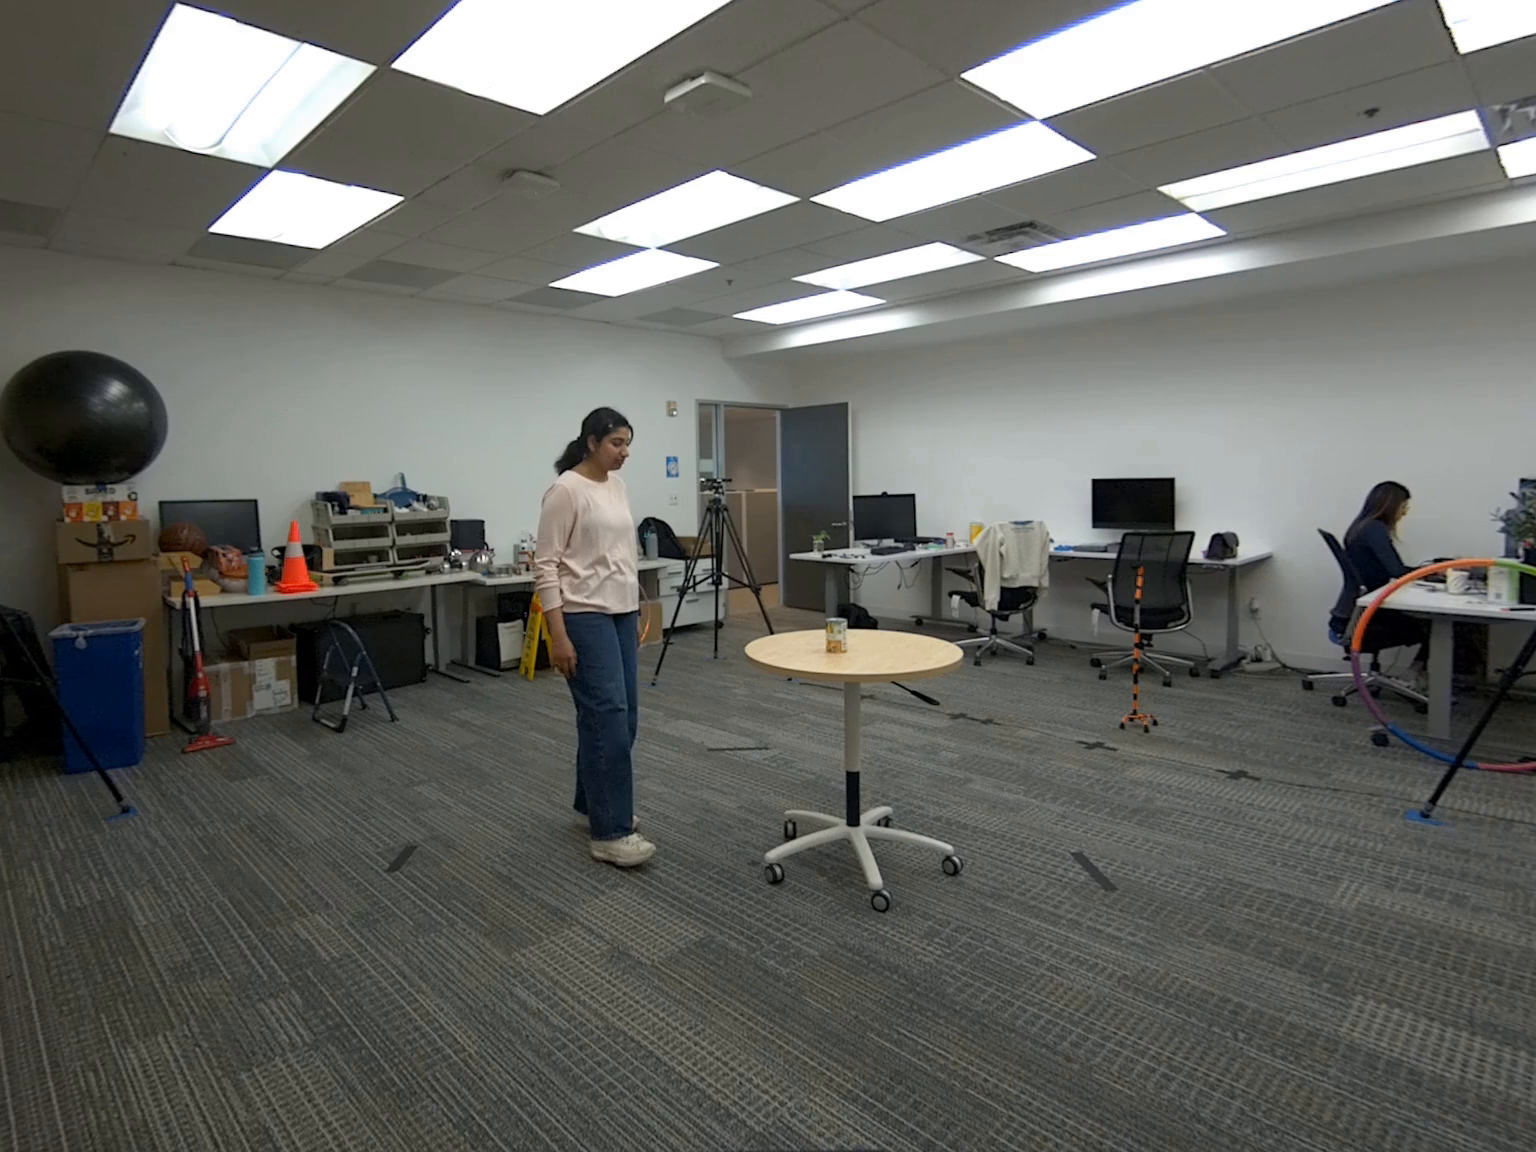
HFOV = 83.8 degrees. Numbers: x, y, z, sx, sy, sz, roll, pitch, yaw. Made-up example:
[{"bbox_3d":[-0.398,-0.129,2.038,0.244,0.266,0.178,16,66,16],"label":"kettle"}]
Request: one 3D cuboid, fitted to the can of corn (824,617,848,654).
[{"bbox_3d":[0.248,0.211,3.009,0.074,0.110,0.075,-1,6,-2],"label":"can of corn"}]
